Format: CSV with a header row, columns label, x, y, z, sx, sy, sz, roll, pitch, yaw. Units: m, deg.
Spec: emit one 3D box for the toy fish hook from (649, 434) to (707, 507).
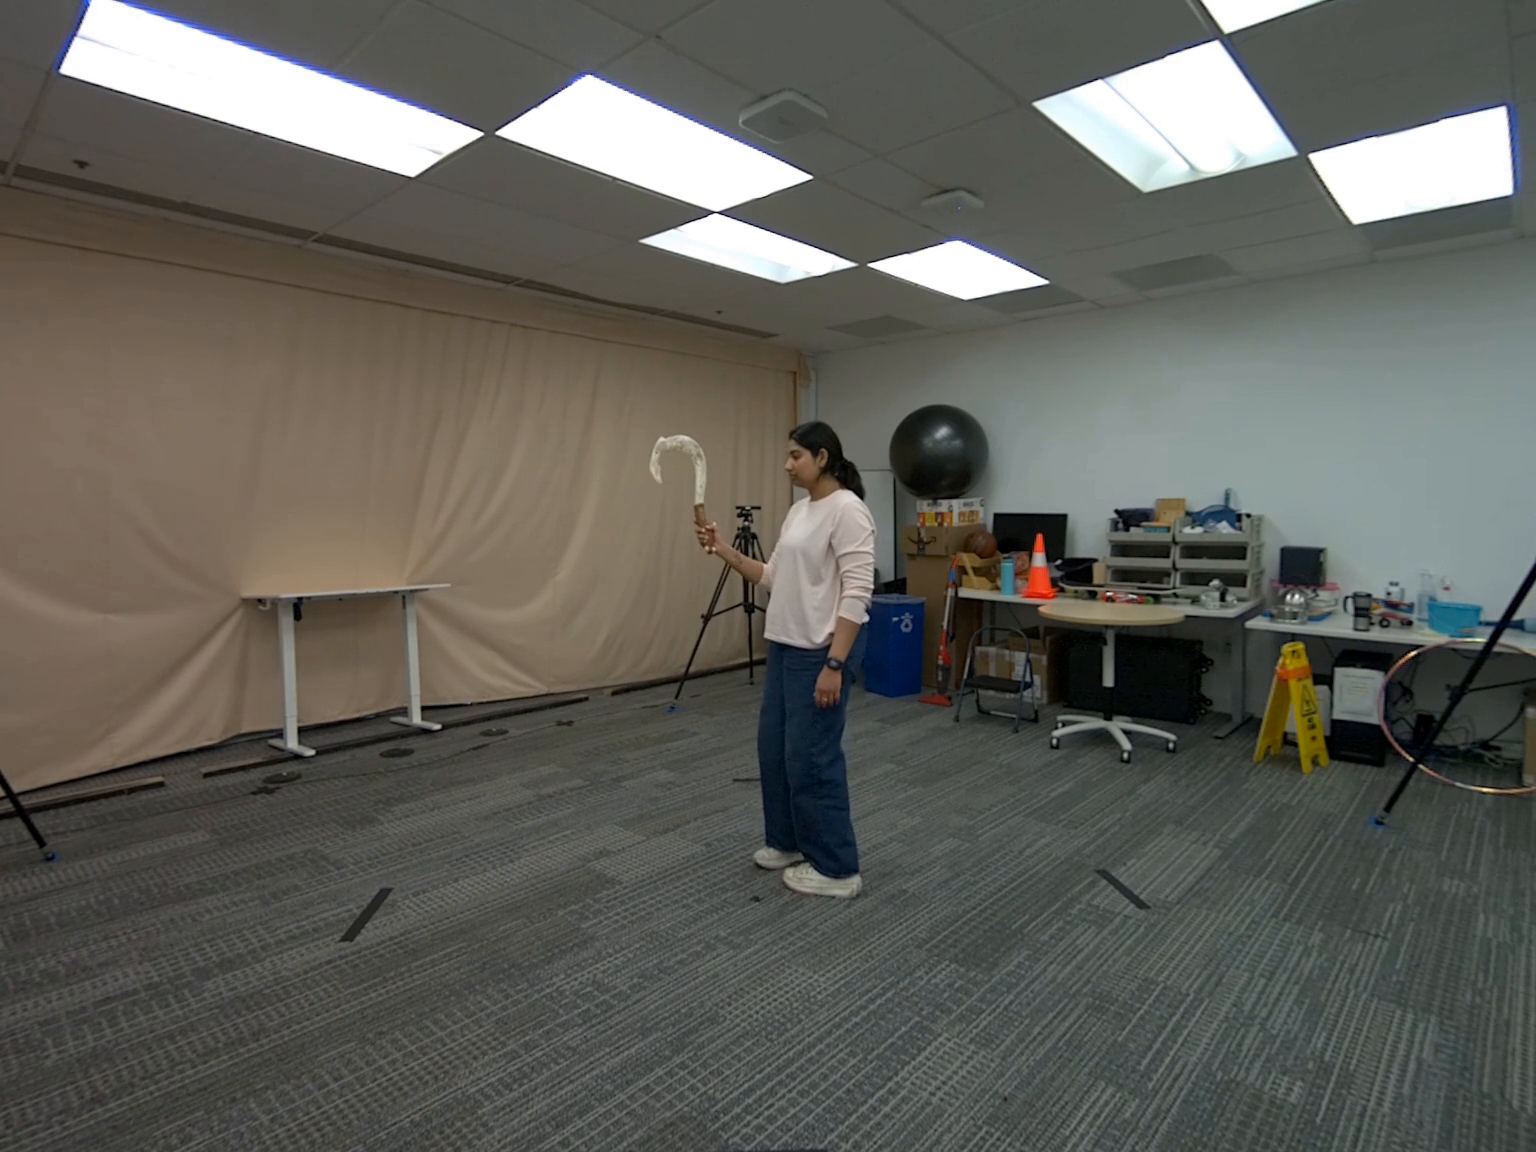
label,x,y,z,sx,sy,sz,roll,pitch,yaw
toy fish hook,-0.317,-0.310,3.248,0.222,0.514,0.048,-9,-18,-10
